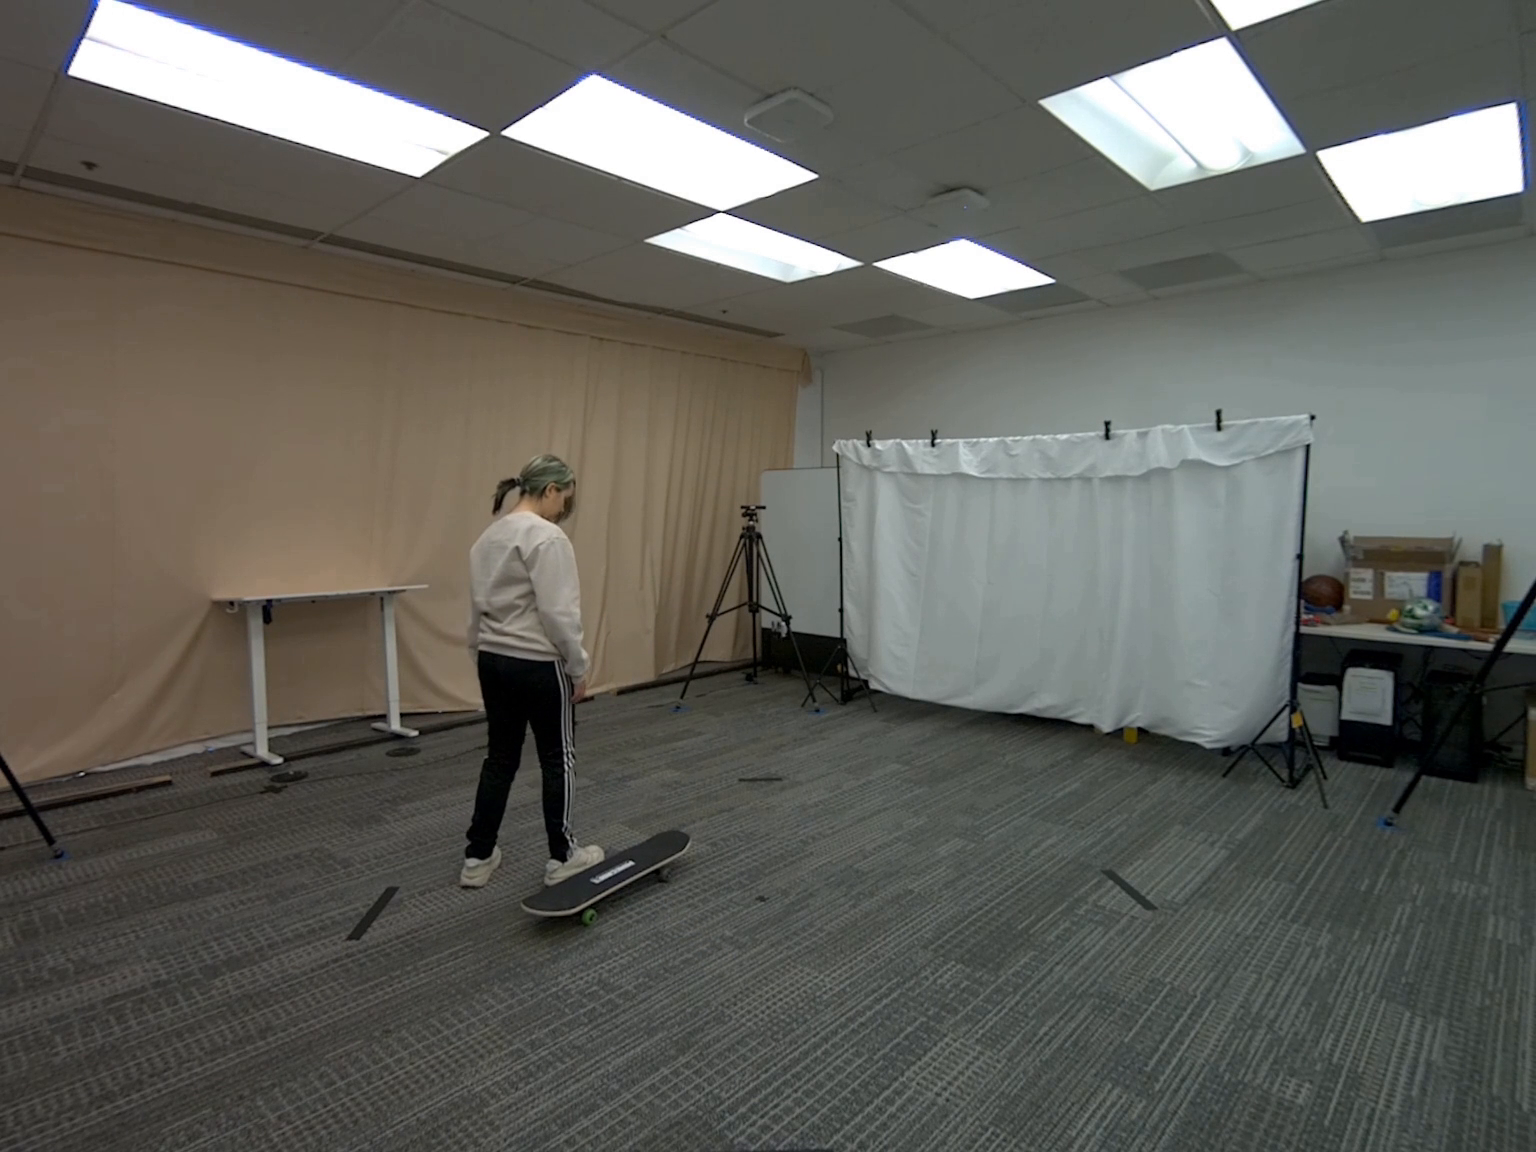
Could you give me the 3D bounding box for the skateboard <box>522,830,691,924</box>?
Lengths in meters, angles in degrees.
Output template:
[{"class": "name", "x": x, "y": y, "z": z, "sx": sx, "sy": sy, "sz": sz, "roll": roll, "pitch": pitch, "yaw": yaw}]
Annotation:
[{"class": "skateboard", "x": -0.560, "y": 1.094, "z": 3.011, "sx": 0.199, "sy": 0.110, "sz": 0.763, "roll": 1, "pitch": 4, "yaw": 34}]
